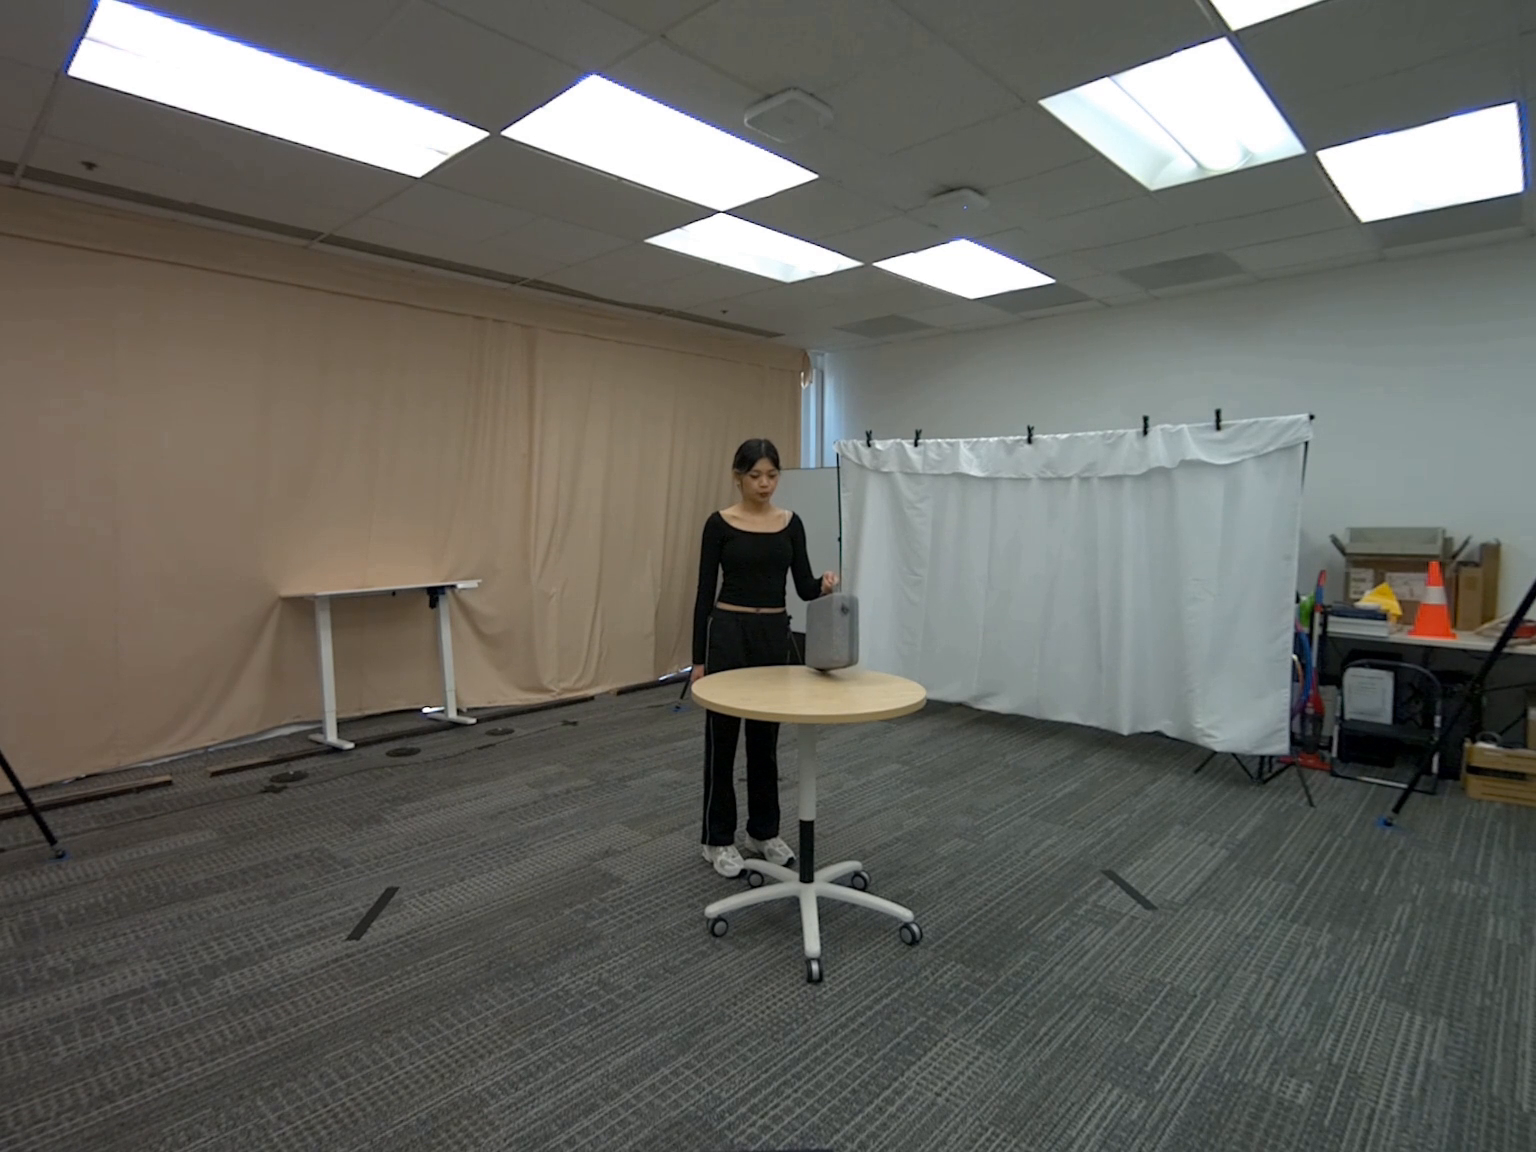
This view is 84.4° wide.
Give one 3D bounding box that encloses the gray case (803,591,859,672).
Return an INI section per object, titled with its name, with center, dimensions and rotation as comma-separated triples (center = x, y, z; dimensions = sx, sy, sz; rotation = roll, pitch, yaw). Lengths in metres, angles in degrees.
[gray case]
center = 0.229, 0.195, 2.969
dimensions = 0.102, 0.263, 0.260
rotation = 7, -14, -18
